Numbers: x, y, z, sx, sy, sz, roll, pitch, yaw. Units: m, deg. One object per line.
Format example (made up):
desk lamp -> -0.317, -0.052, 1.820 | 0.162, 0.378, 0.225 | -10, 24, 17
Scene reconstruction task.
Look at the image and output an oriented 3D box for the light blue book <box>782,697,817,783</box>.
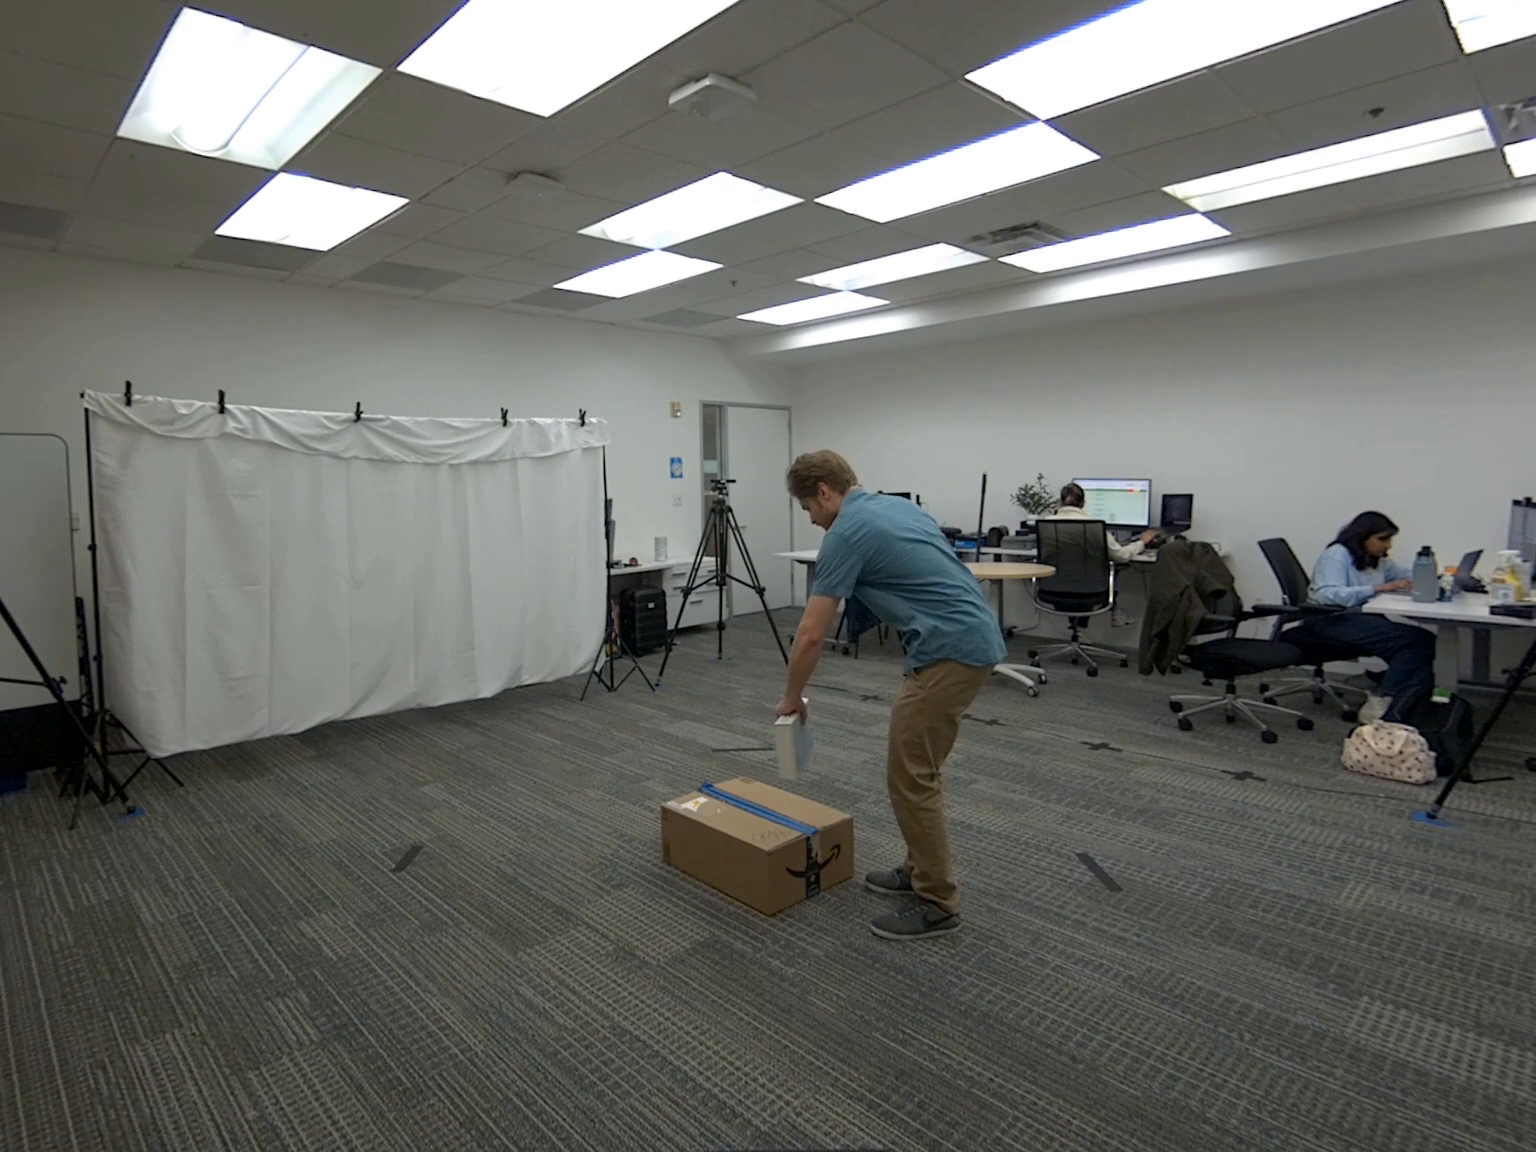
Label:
light blue book -> 0.105, 0.533, 2.828 | 0.060, 0.190, 0.259 | -1, 8, 13
